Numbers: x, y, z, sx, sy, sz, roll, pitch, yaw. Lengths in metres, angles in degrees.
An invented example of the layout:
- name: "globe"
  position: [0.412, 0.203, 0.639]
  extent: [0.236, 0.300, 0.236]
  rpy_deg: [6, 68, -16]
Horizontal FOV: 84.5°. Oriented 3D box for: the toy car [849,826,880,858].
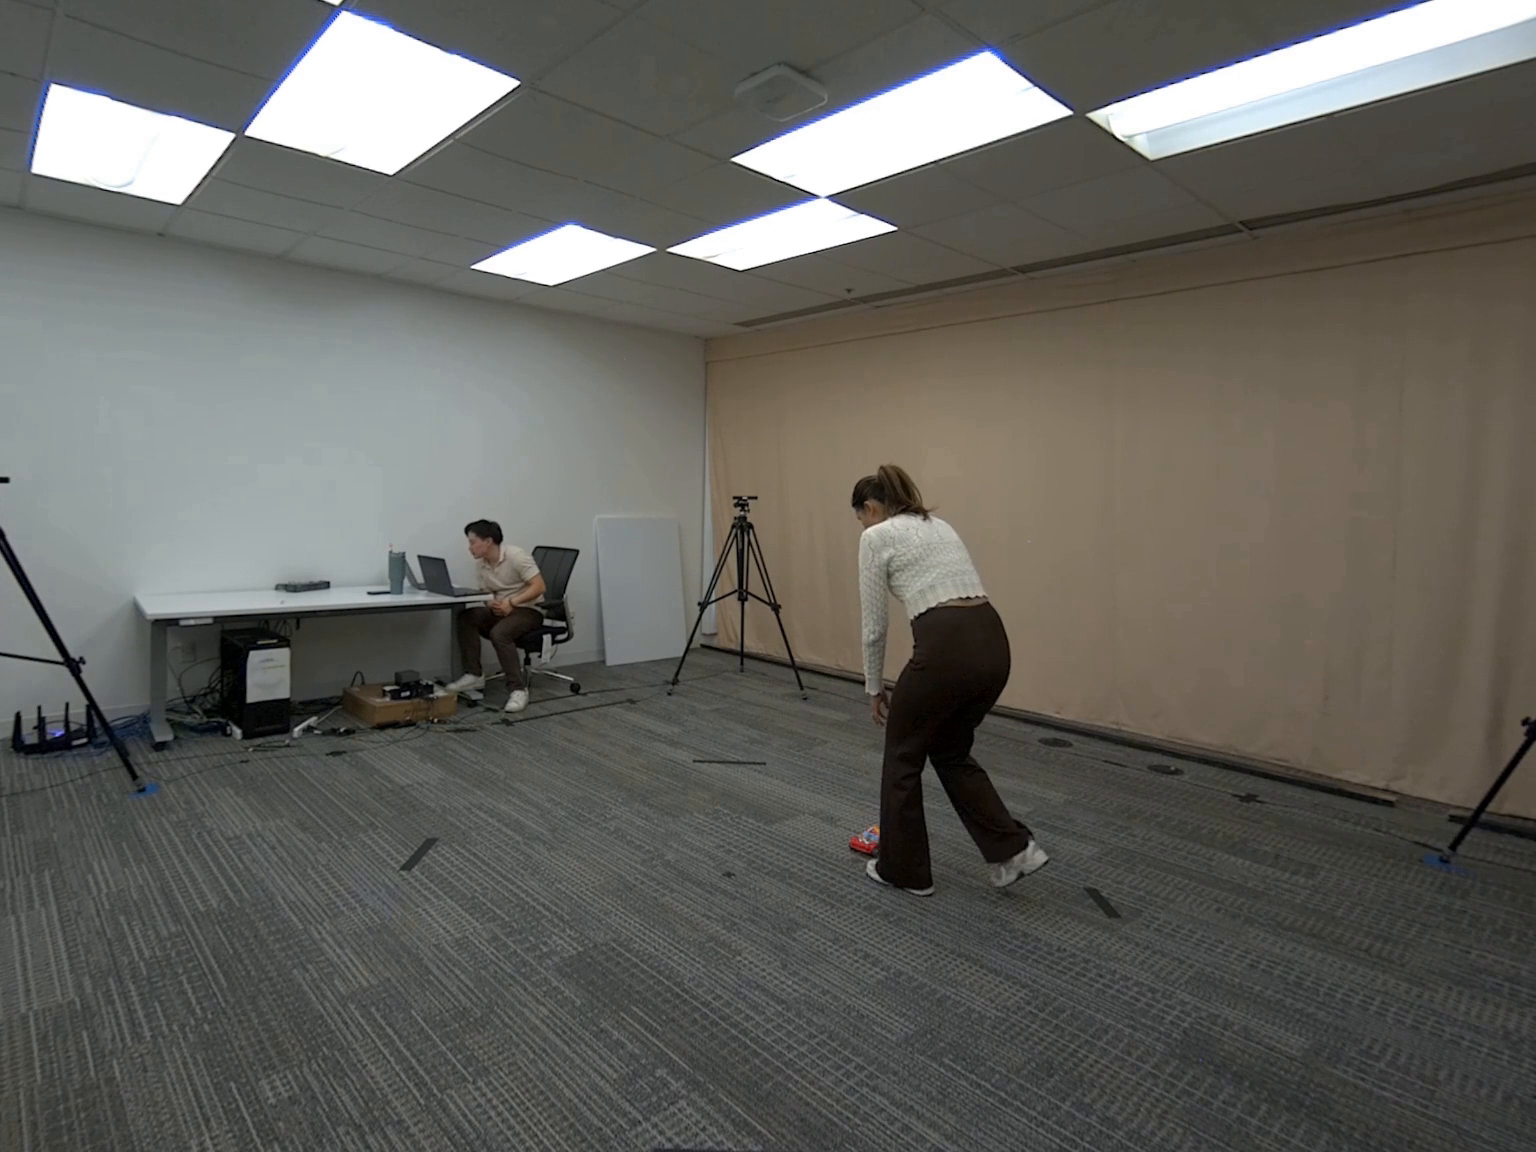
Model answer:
- name: "toy car"
  position: [0.434, 1.061, 3.397]
  extent: [0.133, 0.082, 0.250]
  rpy_deg: [5, 16, 41]
